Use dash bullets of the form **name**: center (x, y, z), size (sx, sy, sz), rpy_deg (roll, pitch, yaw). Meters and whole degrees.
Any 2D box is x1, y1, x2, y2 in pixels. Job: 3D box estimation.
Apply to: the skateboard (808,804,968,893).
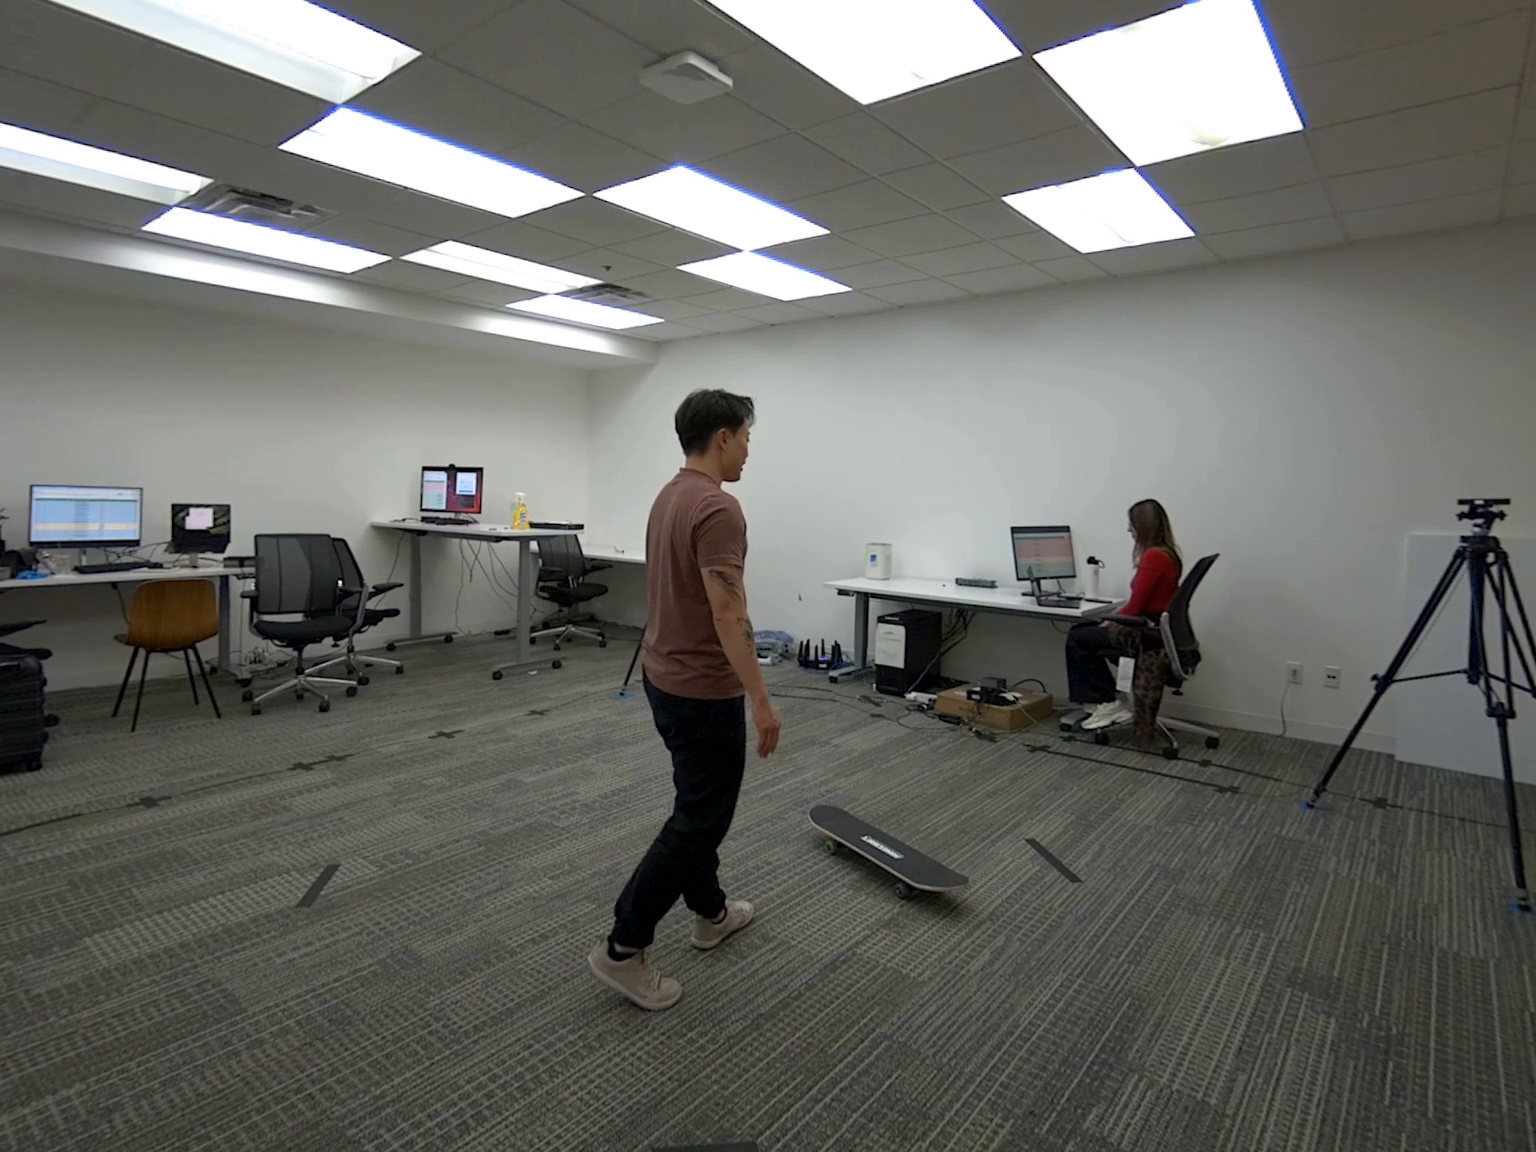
- **skateboard**: center (0.408, 1.021, 3.133), size (0.188, 0.110, 0.810), rpy_deg (-1, 6, -32)
